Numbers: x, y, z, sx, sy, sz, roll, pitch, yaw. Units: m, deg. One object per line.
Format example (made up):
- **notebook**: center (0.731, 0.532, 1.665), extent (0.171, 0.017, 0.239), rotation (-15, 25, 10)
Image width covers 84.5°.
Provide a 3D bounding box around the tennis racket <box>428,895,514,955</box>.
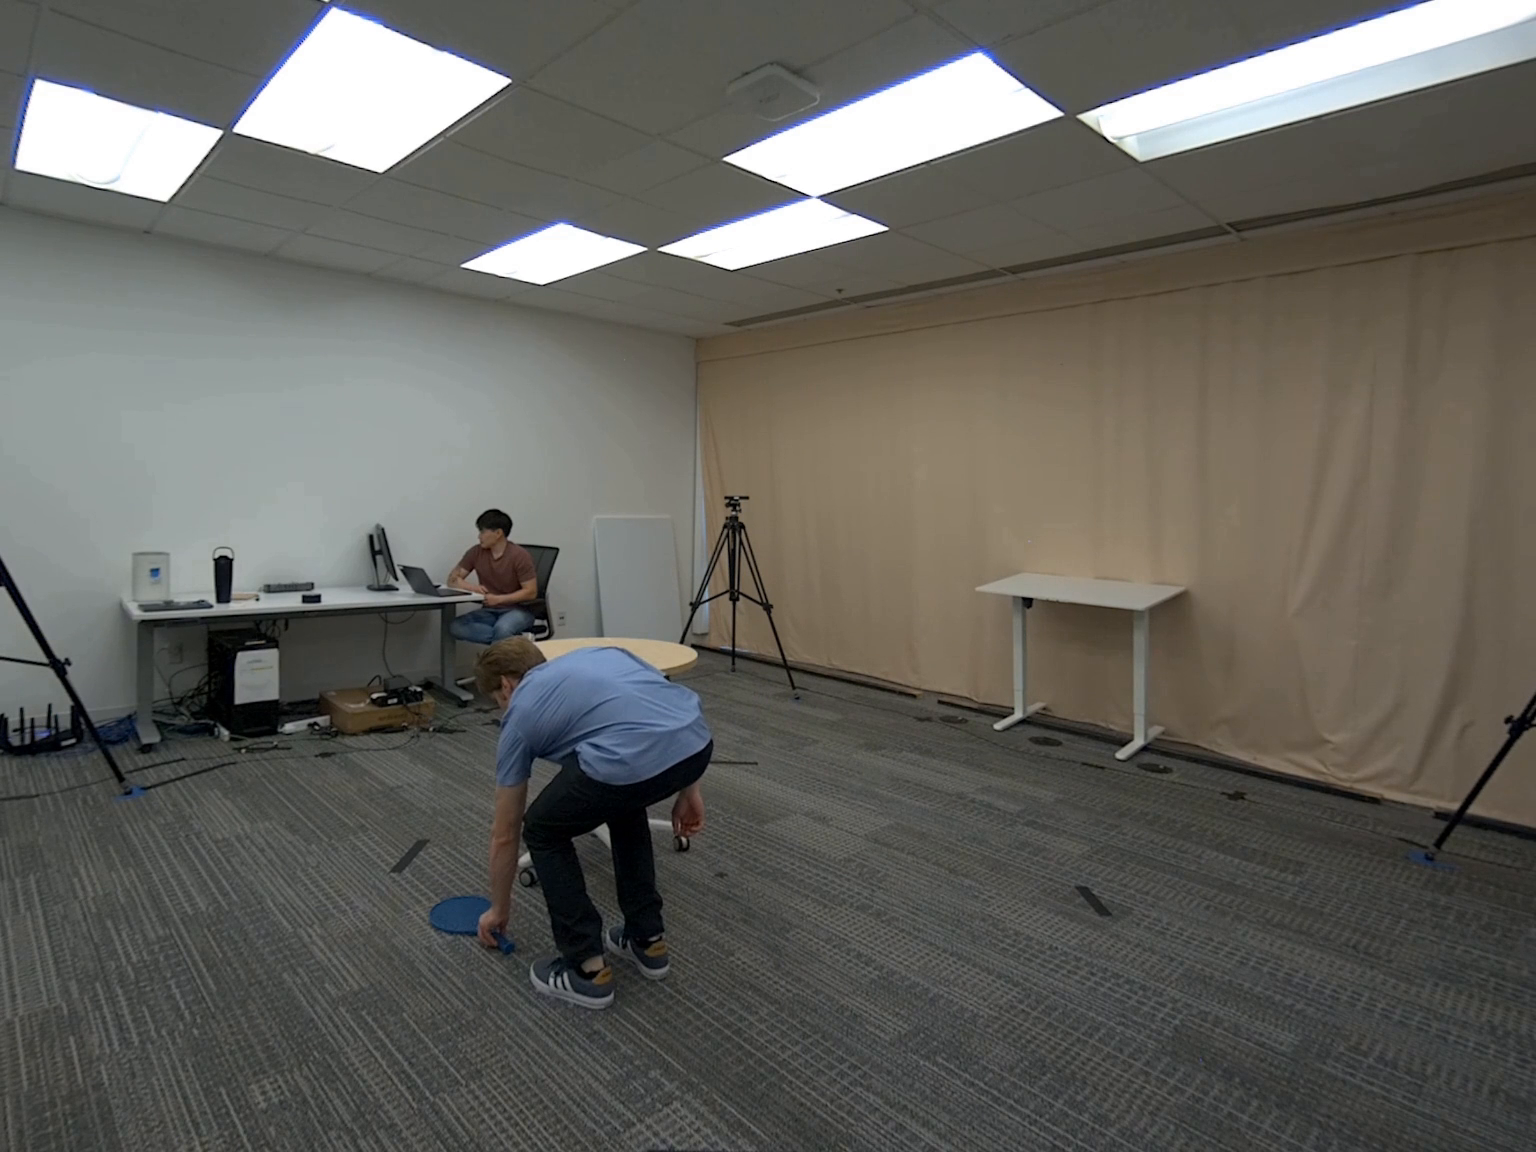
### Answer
- **tennis racket**: center (-0.942, 1.117, 2.692), extent (0.444, 0.032, 0.209), rotation (6, 6, 45)
